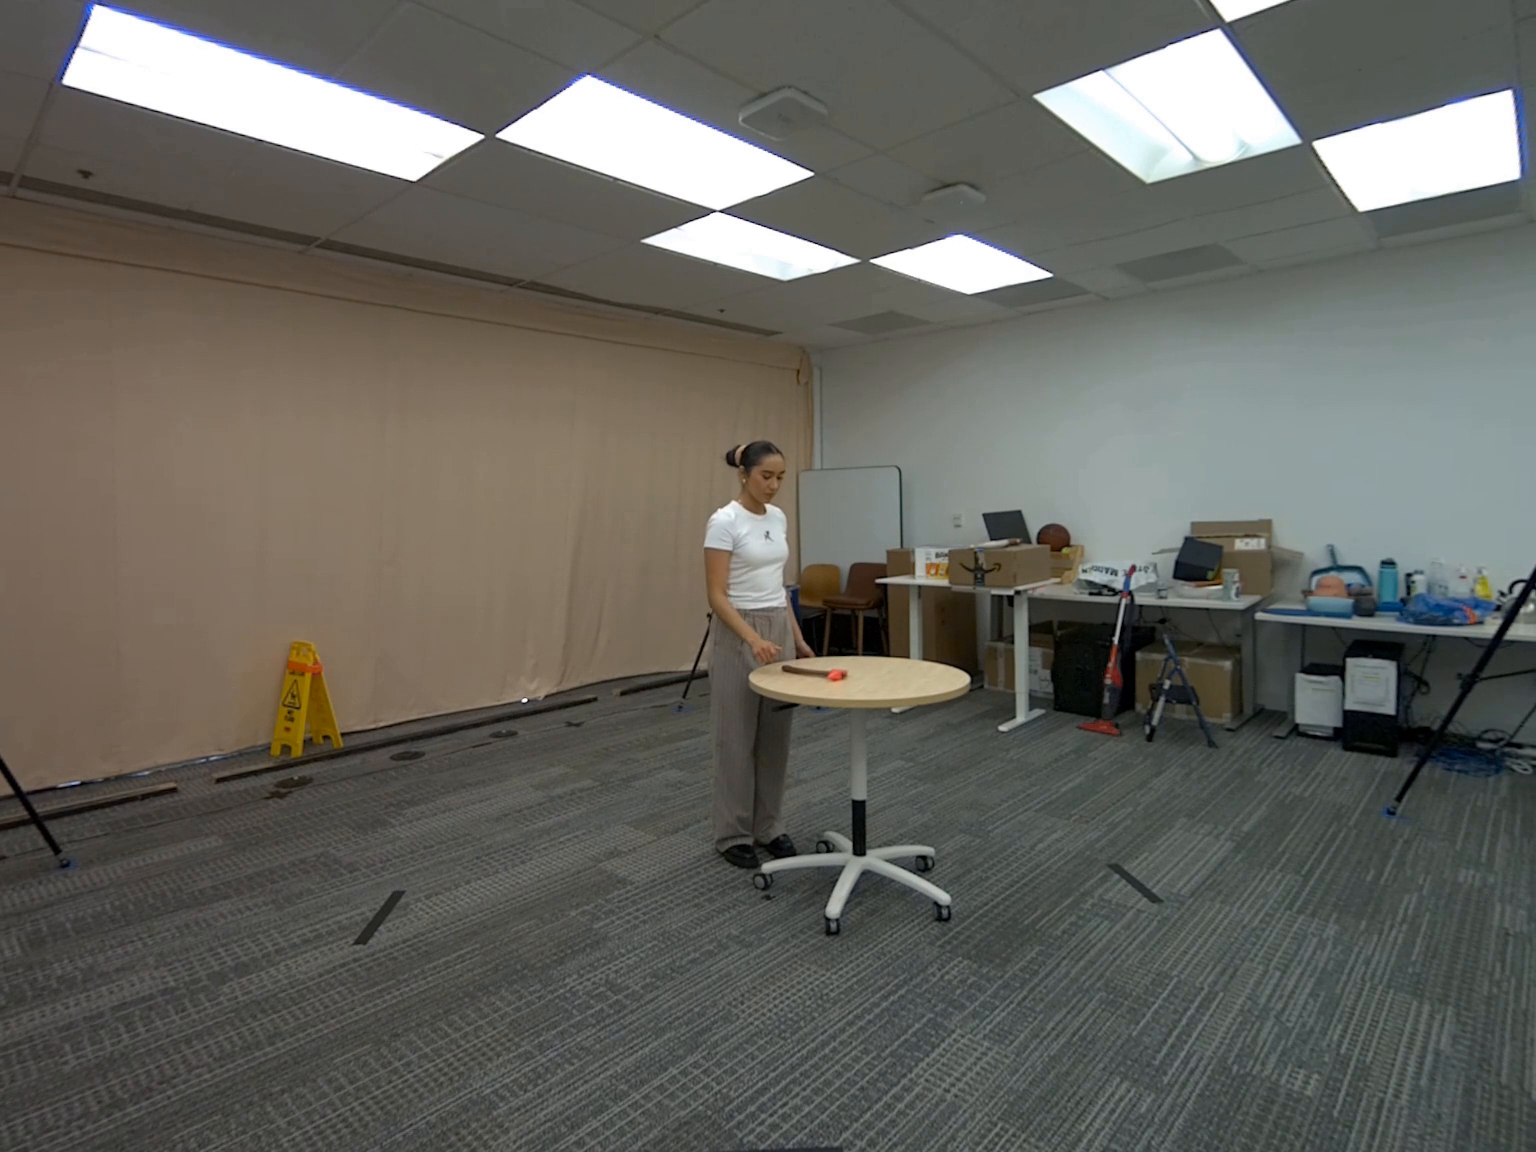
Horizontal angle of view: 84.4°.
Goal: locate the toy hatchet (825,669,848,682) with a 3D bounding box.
[{"bbox_3d":[0.174,0.338,2.999,0.127,0.029,0.278,-4,5,-37],"label":"toy hatchet"}]
